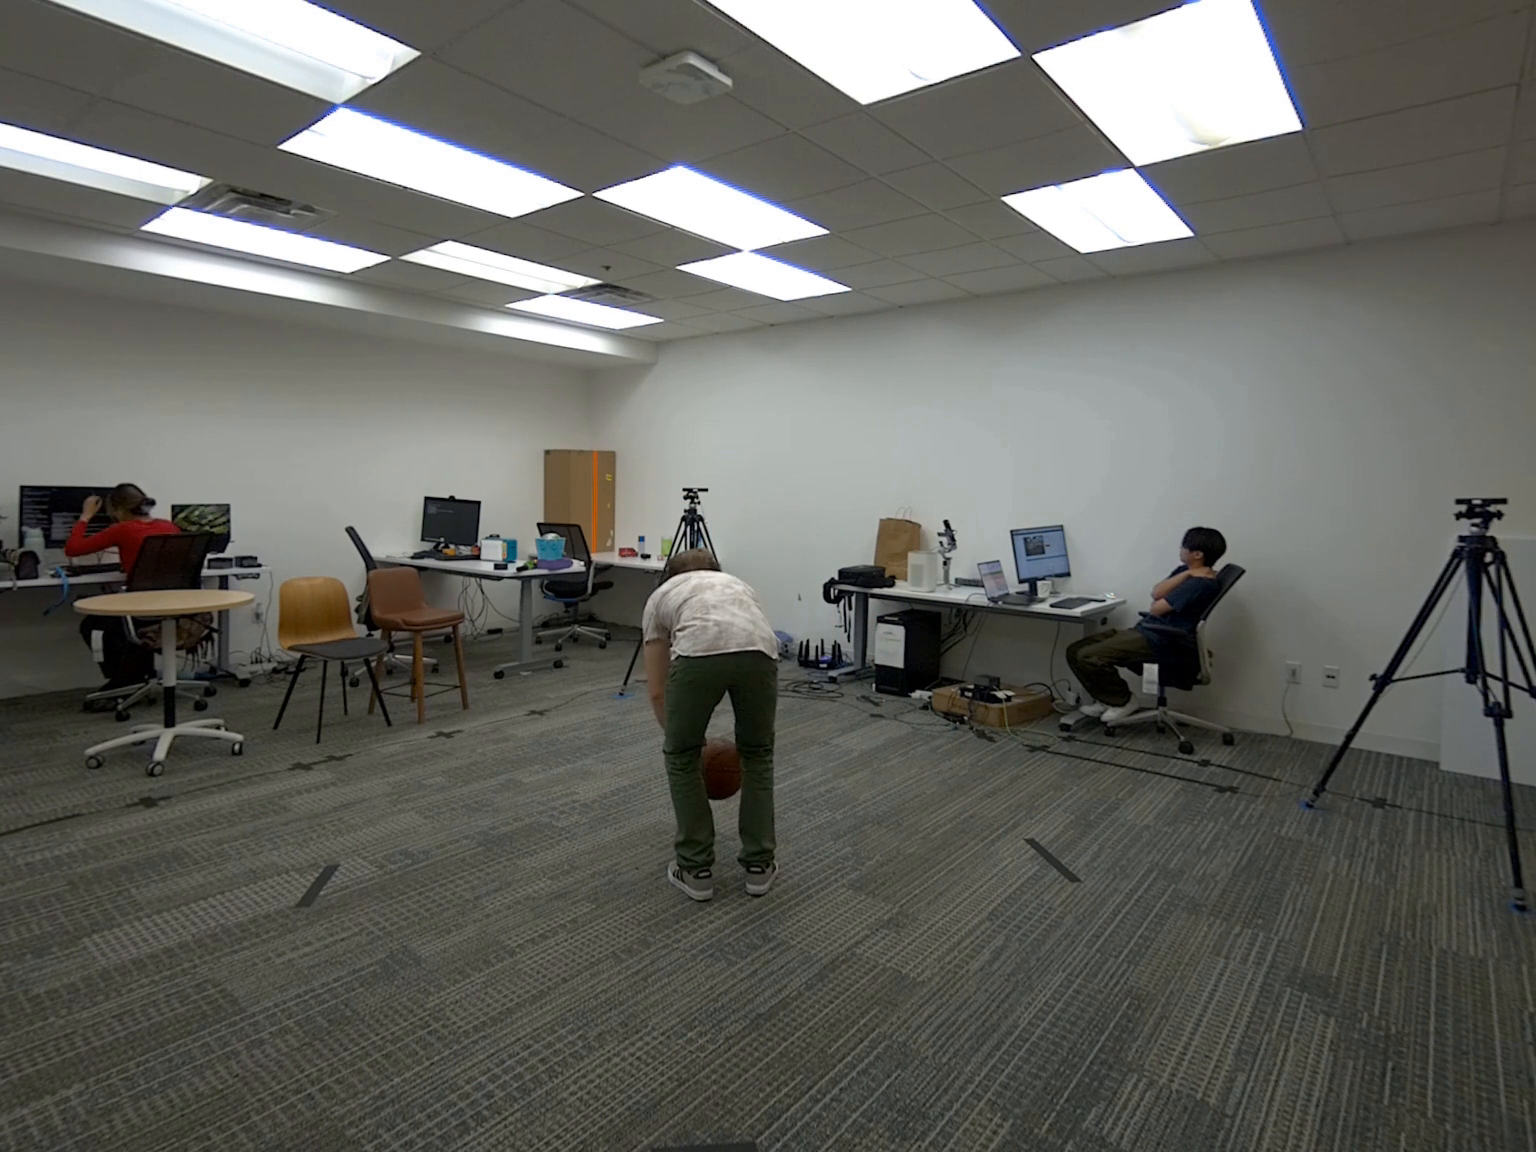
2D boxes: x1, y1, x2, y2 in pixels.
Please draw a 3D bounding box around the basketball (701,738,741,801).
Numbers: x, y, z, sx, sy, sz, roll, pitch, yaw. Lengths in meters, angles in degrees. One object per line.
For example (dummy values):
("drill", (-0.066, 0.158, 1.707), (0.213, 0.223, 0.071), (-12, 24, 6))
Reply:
("basketball", (-0.213, 0.743, 3.343), (0.235, 0.235, 0.237), (1, 4, -2))
